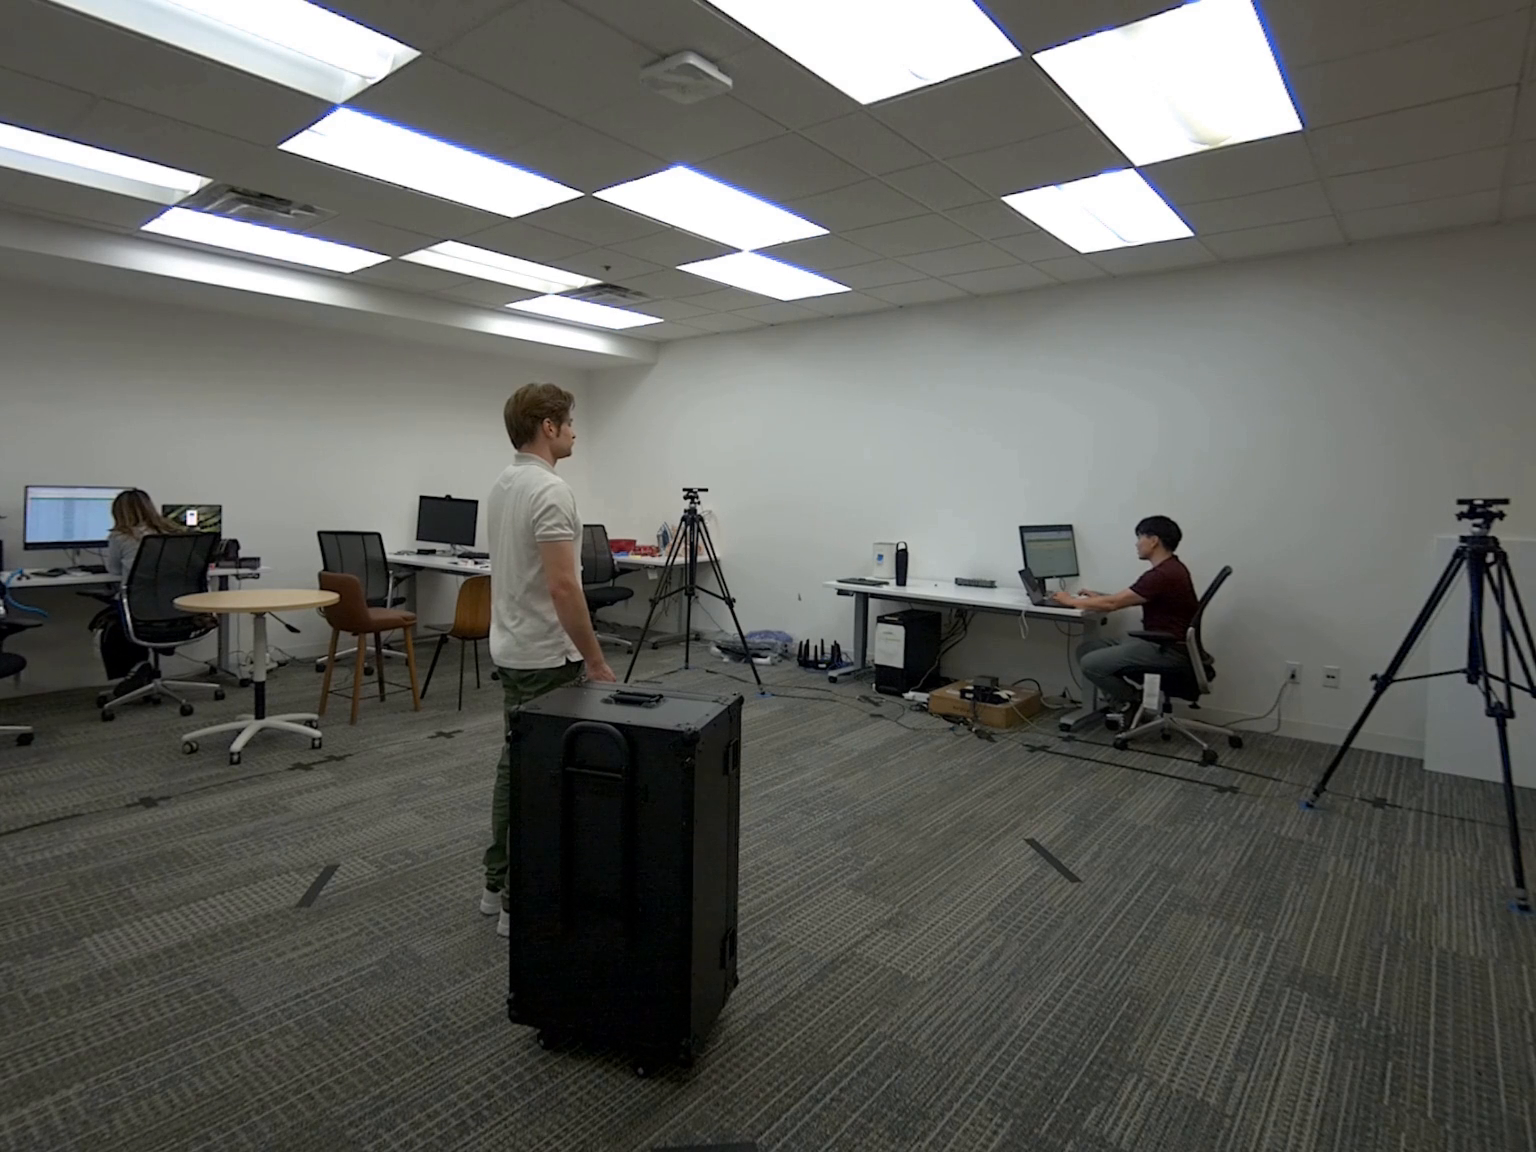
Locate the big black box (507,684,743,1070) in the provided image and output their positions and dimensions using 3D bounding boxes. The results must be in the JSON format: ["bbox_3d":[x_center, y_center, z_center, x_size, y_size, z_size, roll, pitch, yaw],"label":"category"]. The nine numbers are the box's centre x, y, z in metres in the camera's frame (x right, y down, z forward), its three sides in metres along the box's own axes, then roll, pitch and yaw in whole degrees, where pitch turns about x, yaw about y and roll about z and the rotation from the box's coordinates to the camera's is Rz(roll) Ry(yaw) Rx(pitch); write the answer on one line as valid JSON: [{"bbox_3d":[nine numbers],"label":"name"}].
[{"bbox_3d":[-0.357,0.739,2.150,0.533,0.866,0.379,2,3,17],"label":"big black box"}]
